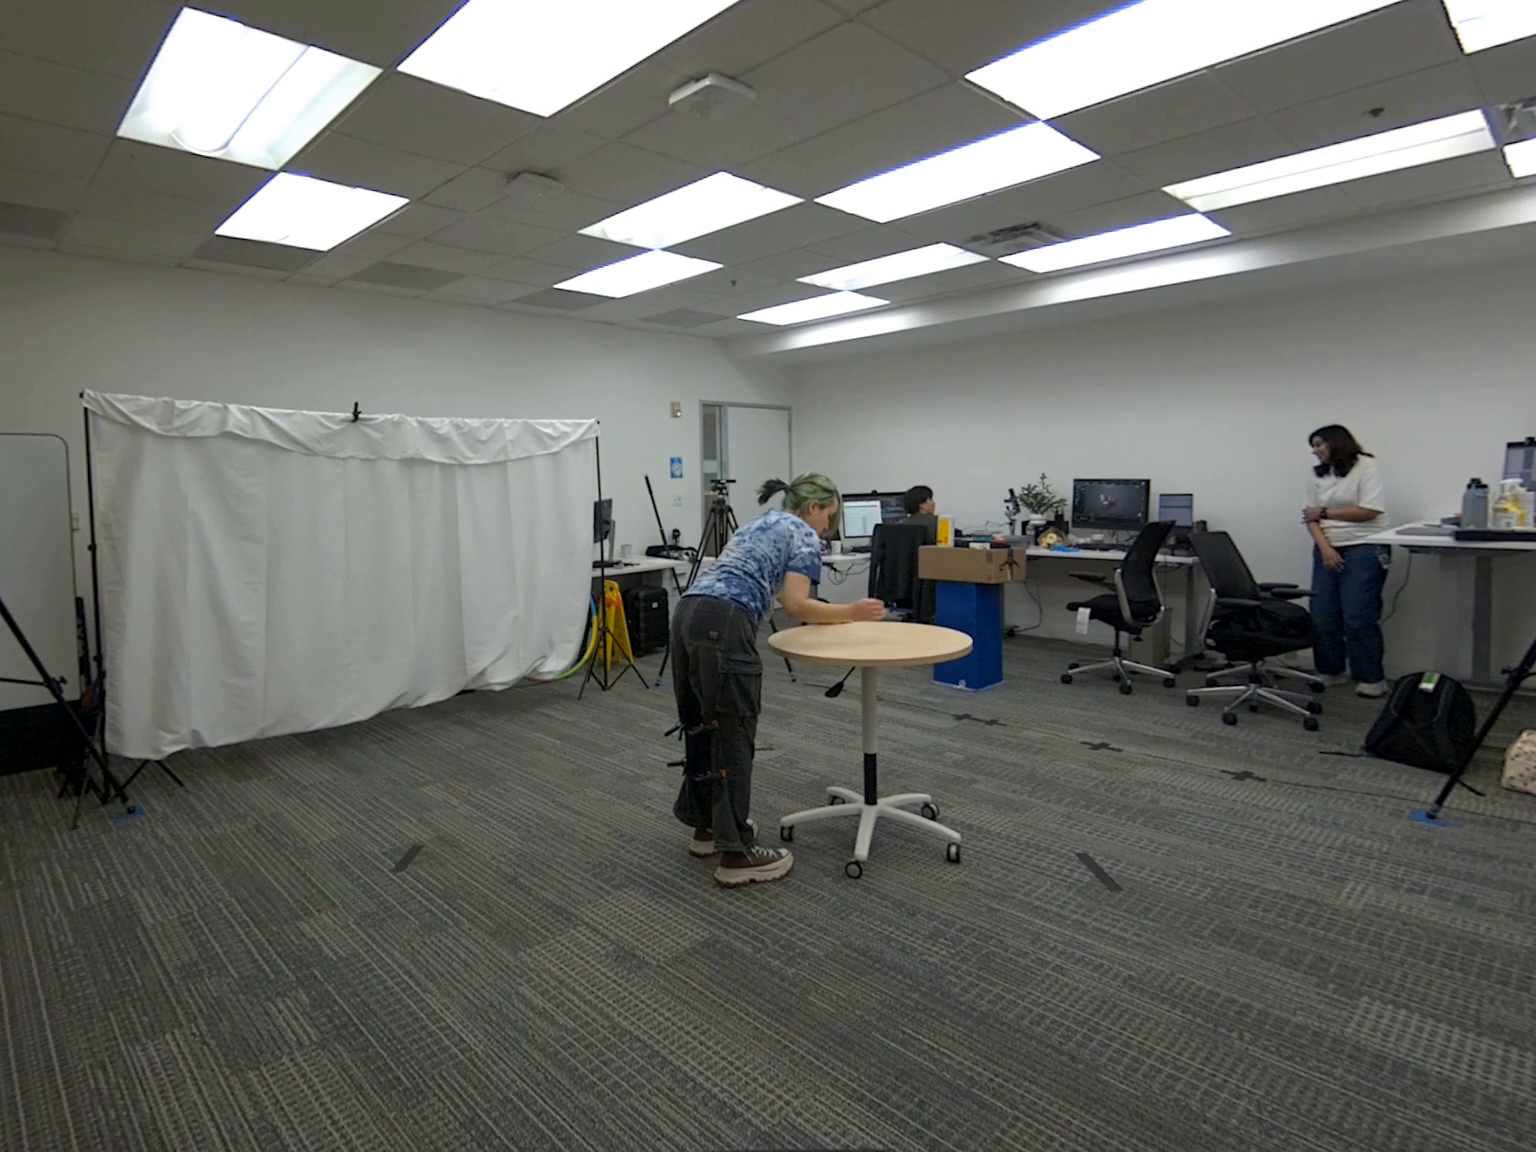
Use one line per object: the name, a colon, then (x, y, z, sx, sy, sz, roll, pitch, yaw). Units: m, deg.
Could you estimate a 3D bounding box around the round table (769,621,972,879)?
round table: (0.395, 0.633, 3.286, 0.763, 0.791, 0.768, -1, 5, -2)
